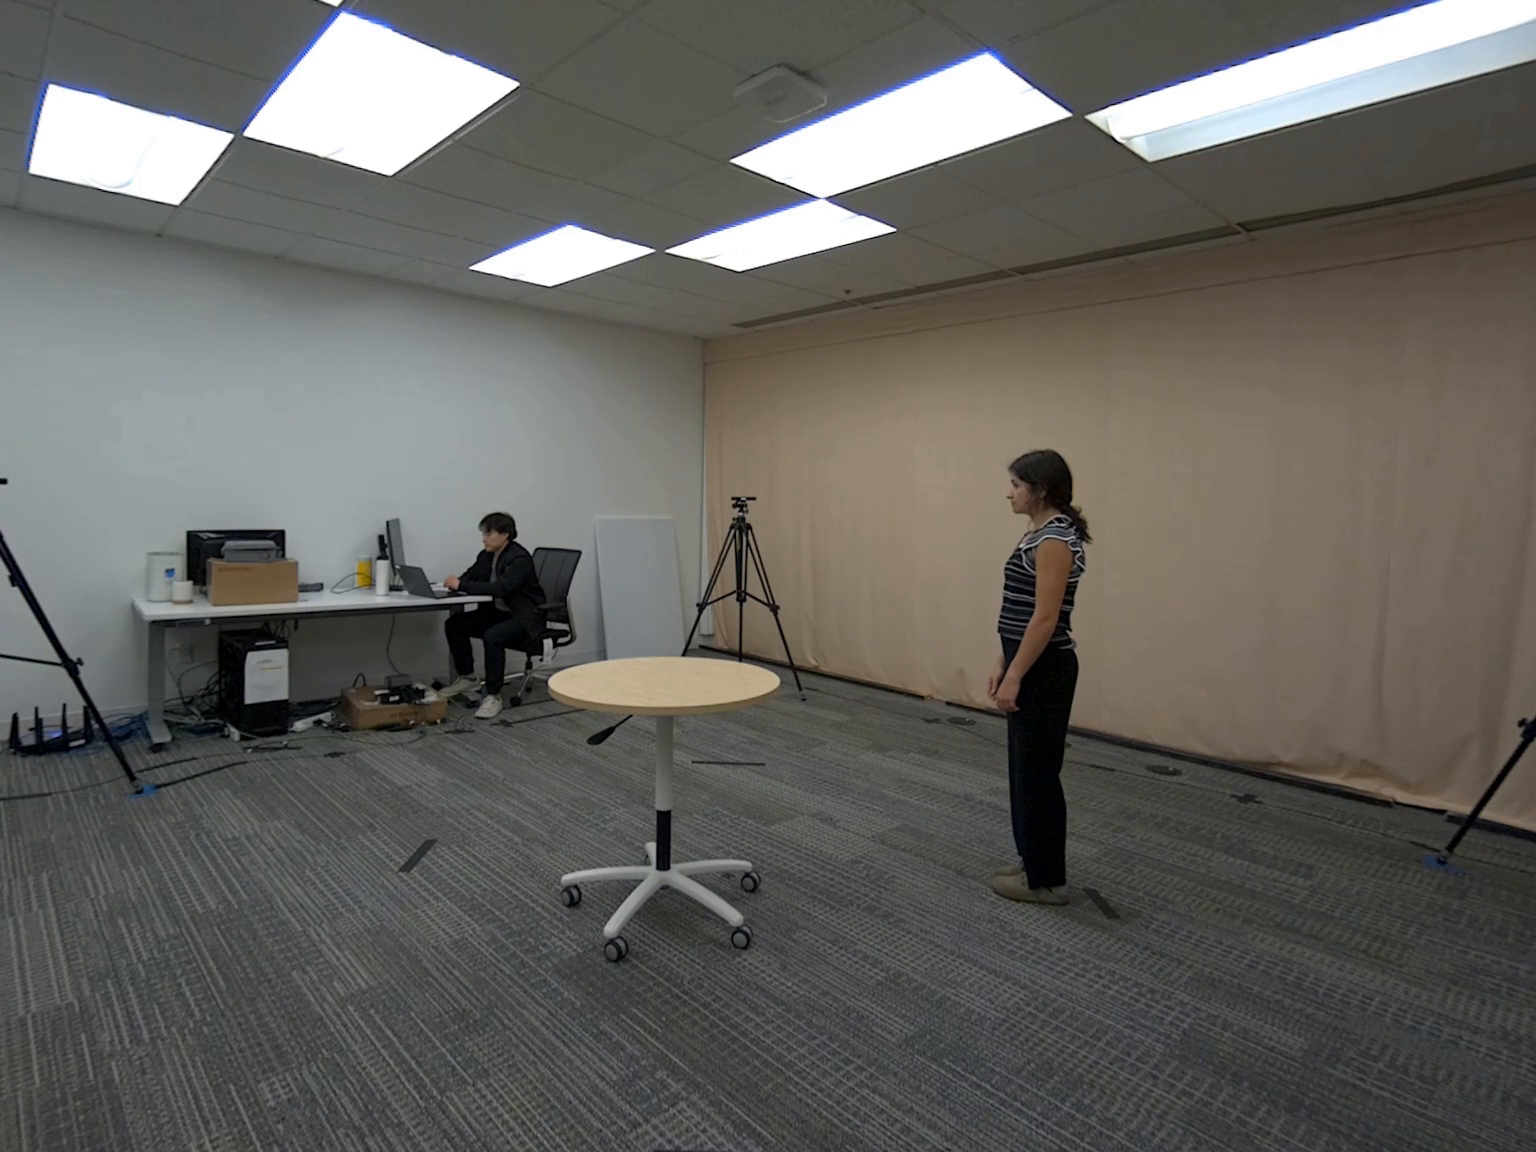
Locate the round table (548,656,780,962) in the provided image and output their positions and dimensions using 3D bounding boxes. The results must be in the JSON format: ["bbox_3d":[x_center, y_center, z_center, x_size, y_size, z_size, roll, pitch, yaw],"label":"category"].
[{"bbox_3d":[-0.346,0.732,2.832,0.784,0.784,0.788,1,4,-1],"label":"round table"}]
